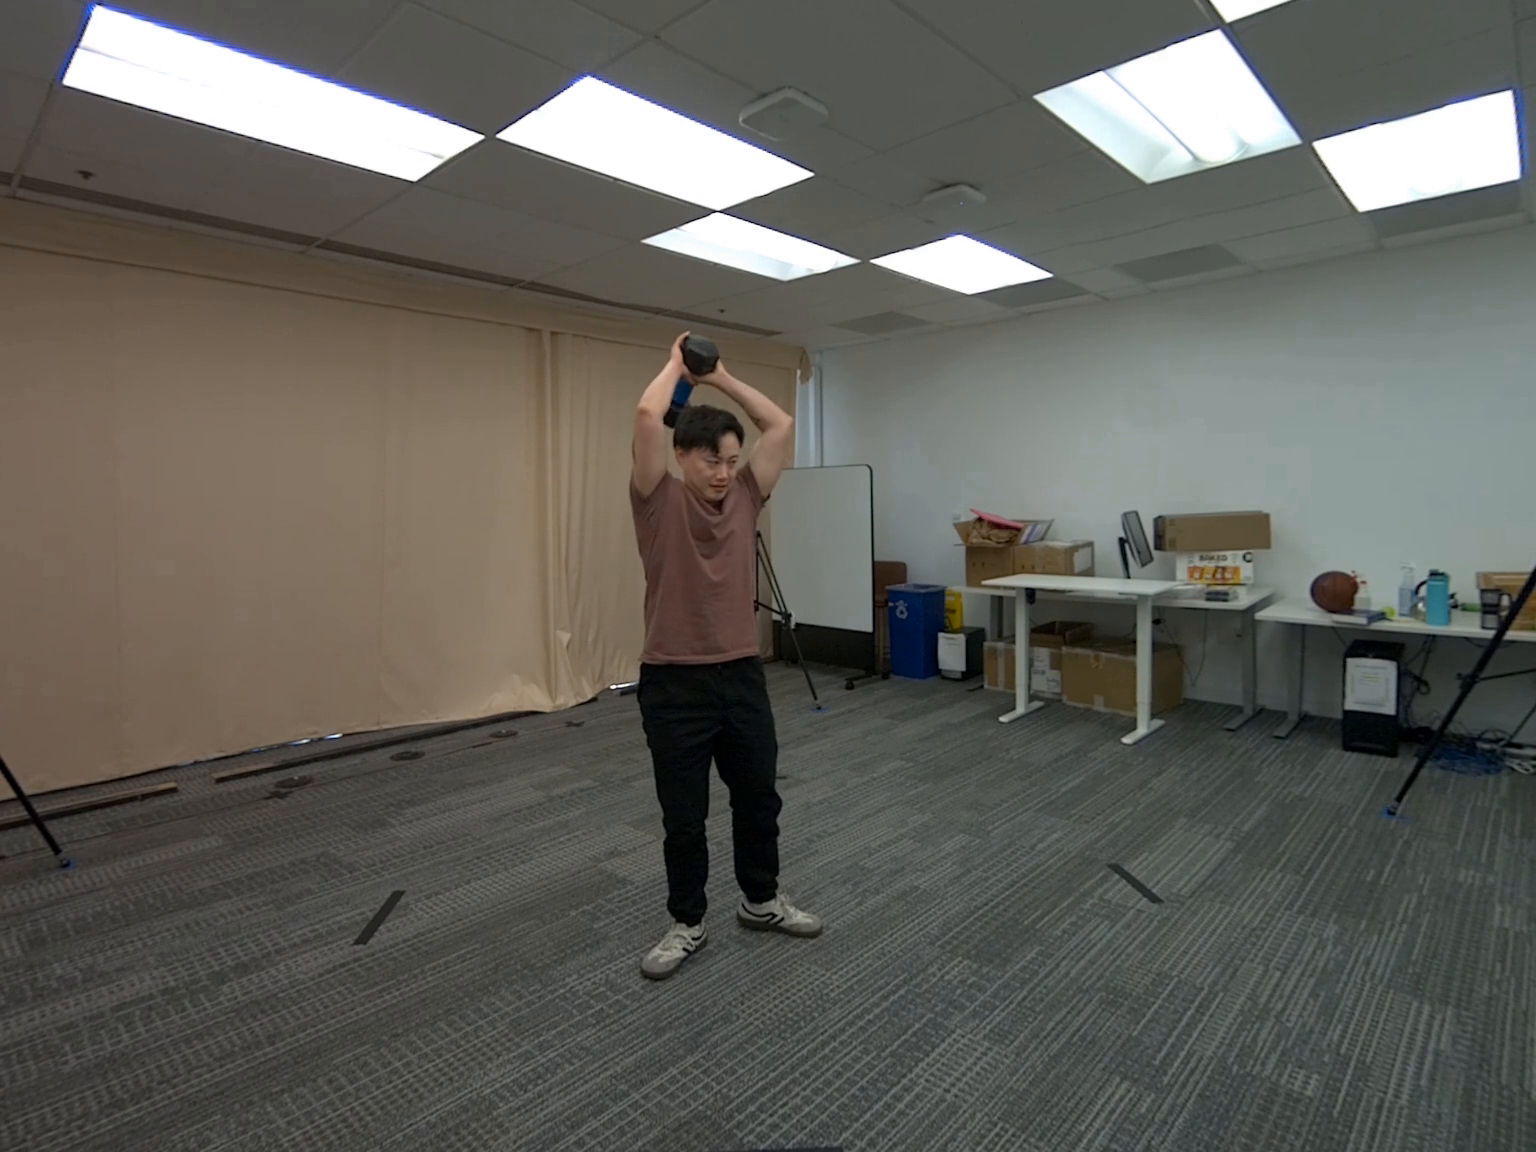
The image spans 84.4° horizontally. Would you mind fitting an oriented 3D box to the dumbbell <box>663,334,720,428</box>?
[{"bbox_3d":[-0.255,-0.598,2.620,0.106,0.126,0.293,6,-46,-27],"label":"dumbbell"}]
